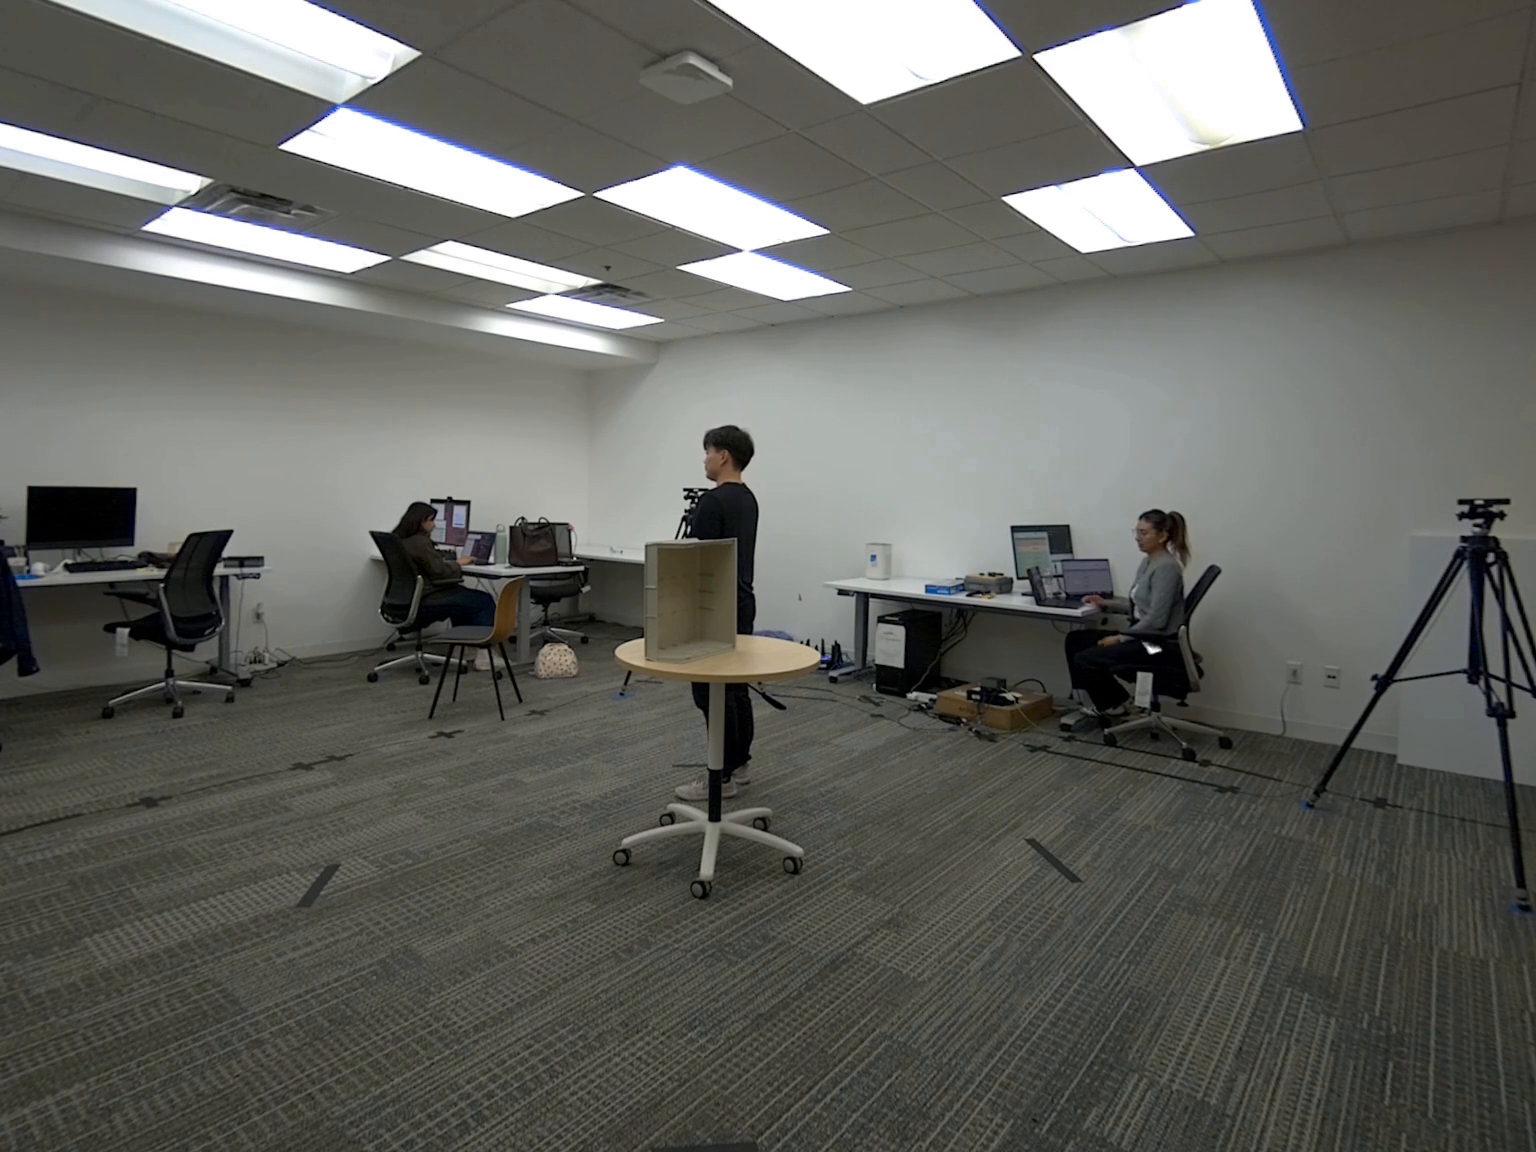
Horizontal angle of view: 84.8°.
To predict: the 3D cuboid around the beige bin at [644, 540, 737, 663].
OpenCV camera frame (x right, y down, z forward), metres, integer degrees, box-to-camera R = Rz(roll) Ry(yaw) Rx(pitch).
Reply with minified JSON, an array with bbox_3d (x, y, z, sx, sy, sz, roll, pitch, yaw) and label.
[{"bbox_3d":[-0.299,0.074,3.119,0.194,0.421,0.367,1,4,32],"label":"beige bin"}]
